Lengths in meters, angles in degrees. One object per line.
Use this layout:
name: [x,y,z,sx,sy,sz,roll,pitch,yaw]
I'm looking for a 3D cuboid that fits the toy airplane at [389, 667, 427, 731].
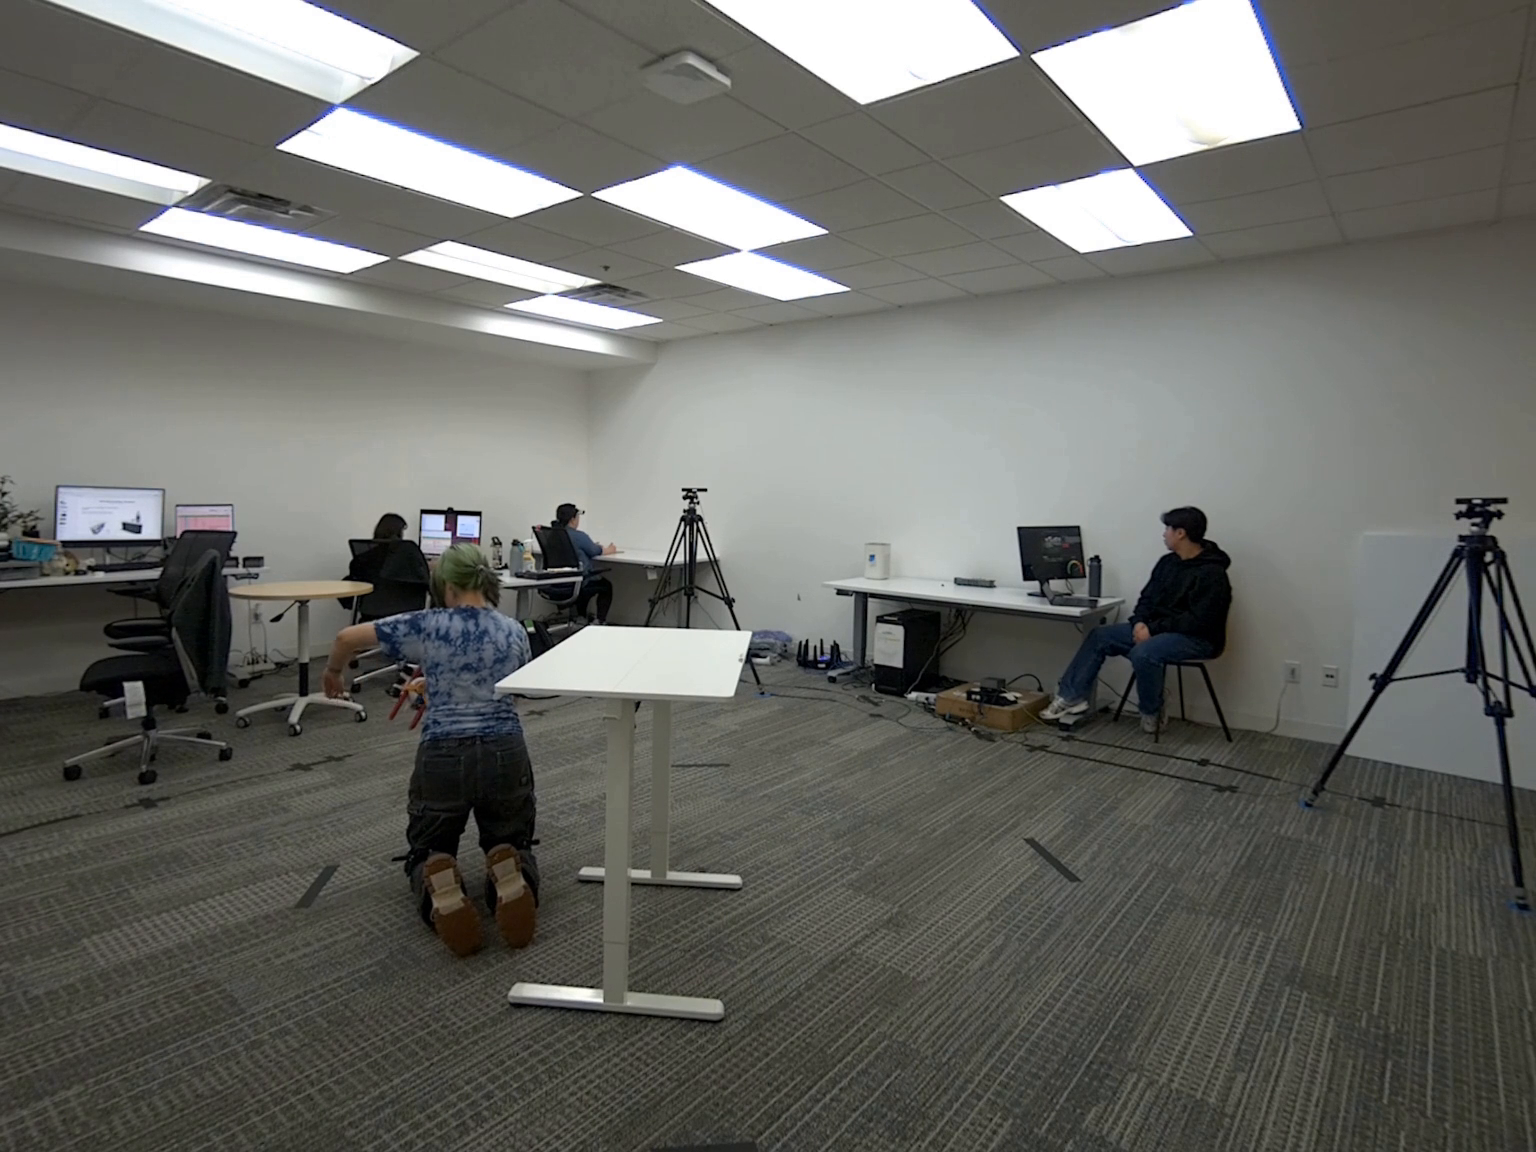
toy airplane: [-1.289,0.404,3.088,0.155,0.251,0.261,22,-2,-7]
